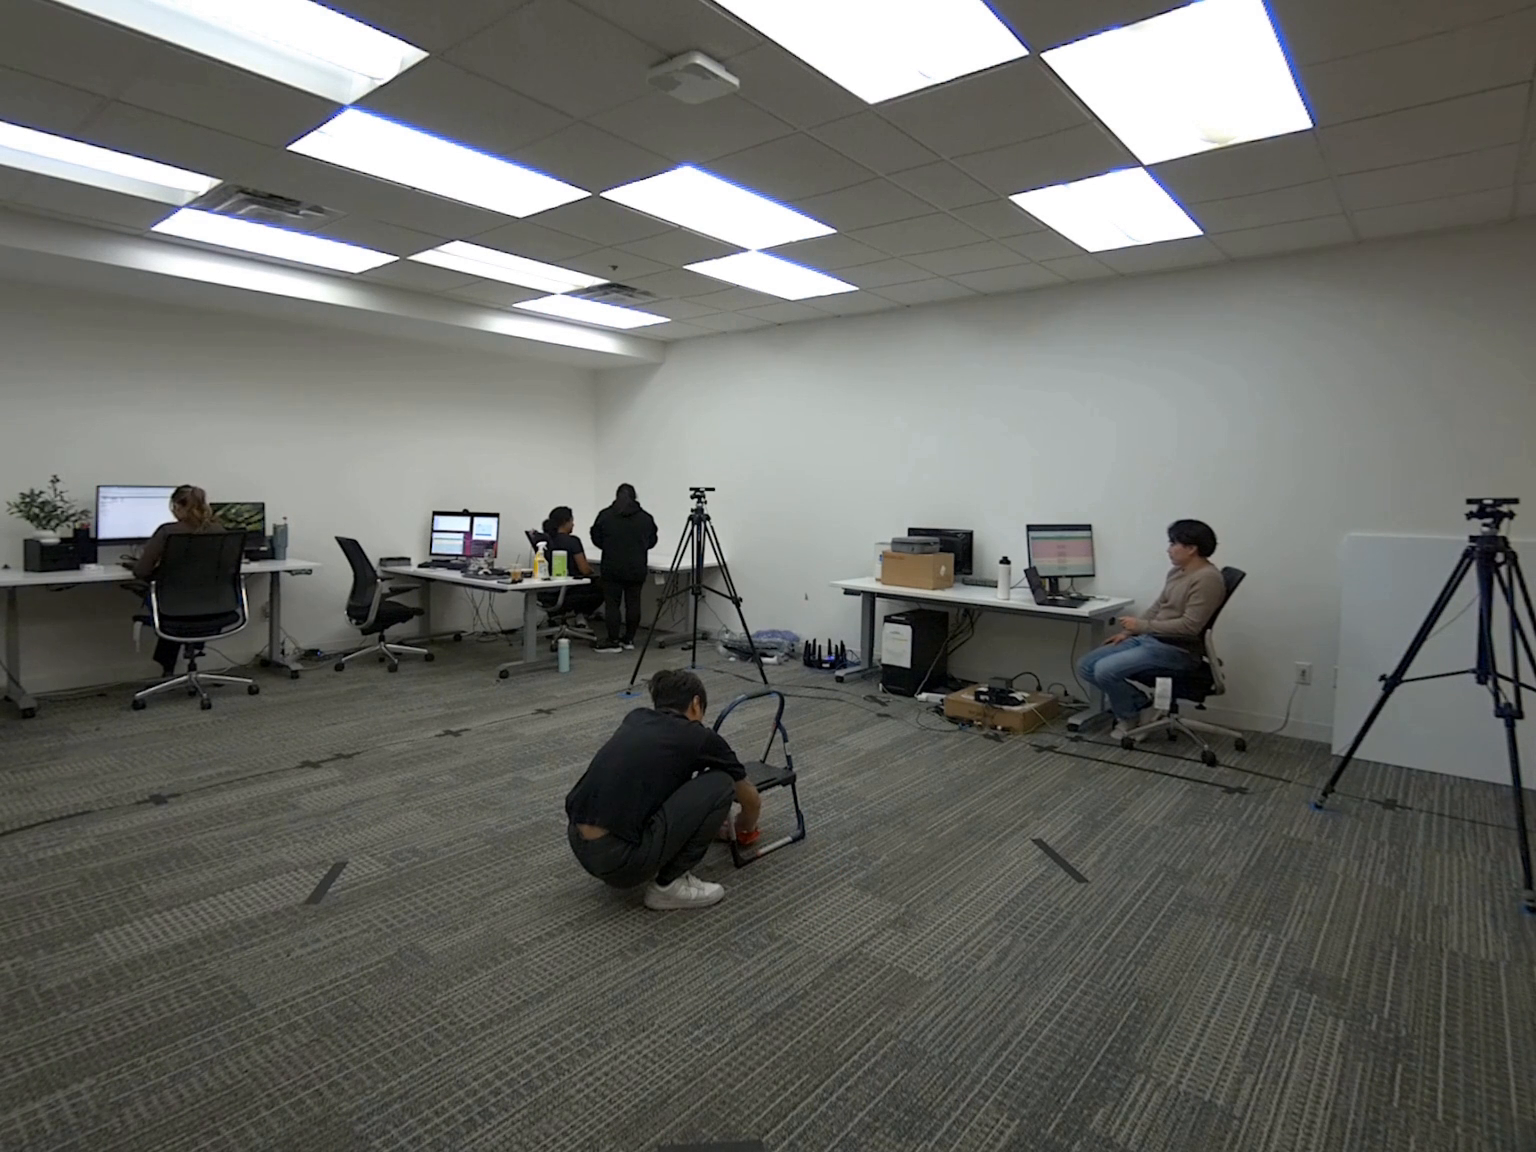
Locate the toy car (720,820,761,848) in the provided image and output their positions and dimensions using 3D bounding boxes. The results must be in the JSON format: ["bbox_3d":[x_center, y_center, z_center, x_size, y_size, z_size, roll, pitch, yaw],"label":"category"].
[{"bbox_3d":[-0.156,1.011,3.366,0.261,0.083,0.126,-7,-3,35],"label":"toy car"}]
